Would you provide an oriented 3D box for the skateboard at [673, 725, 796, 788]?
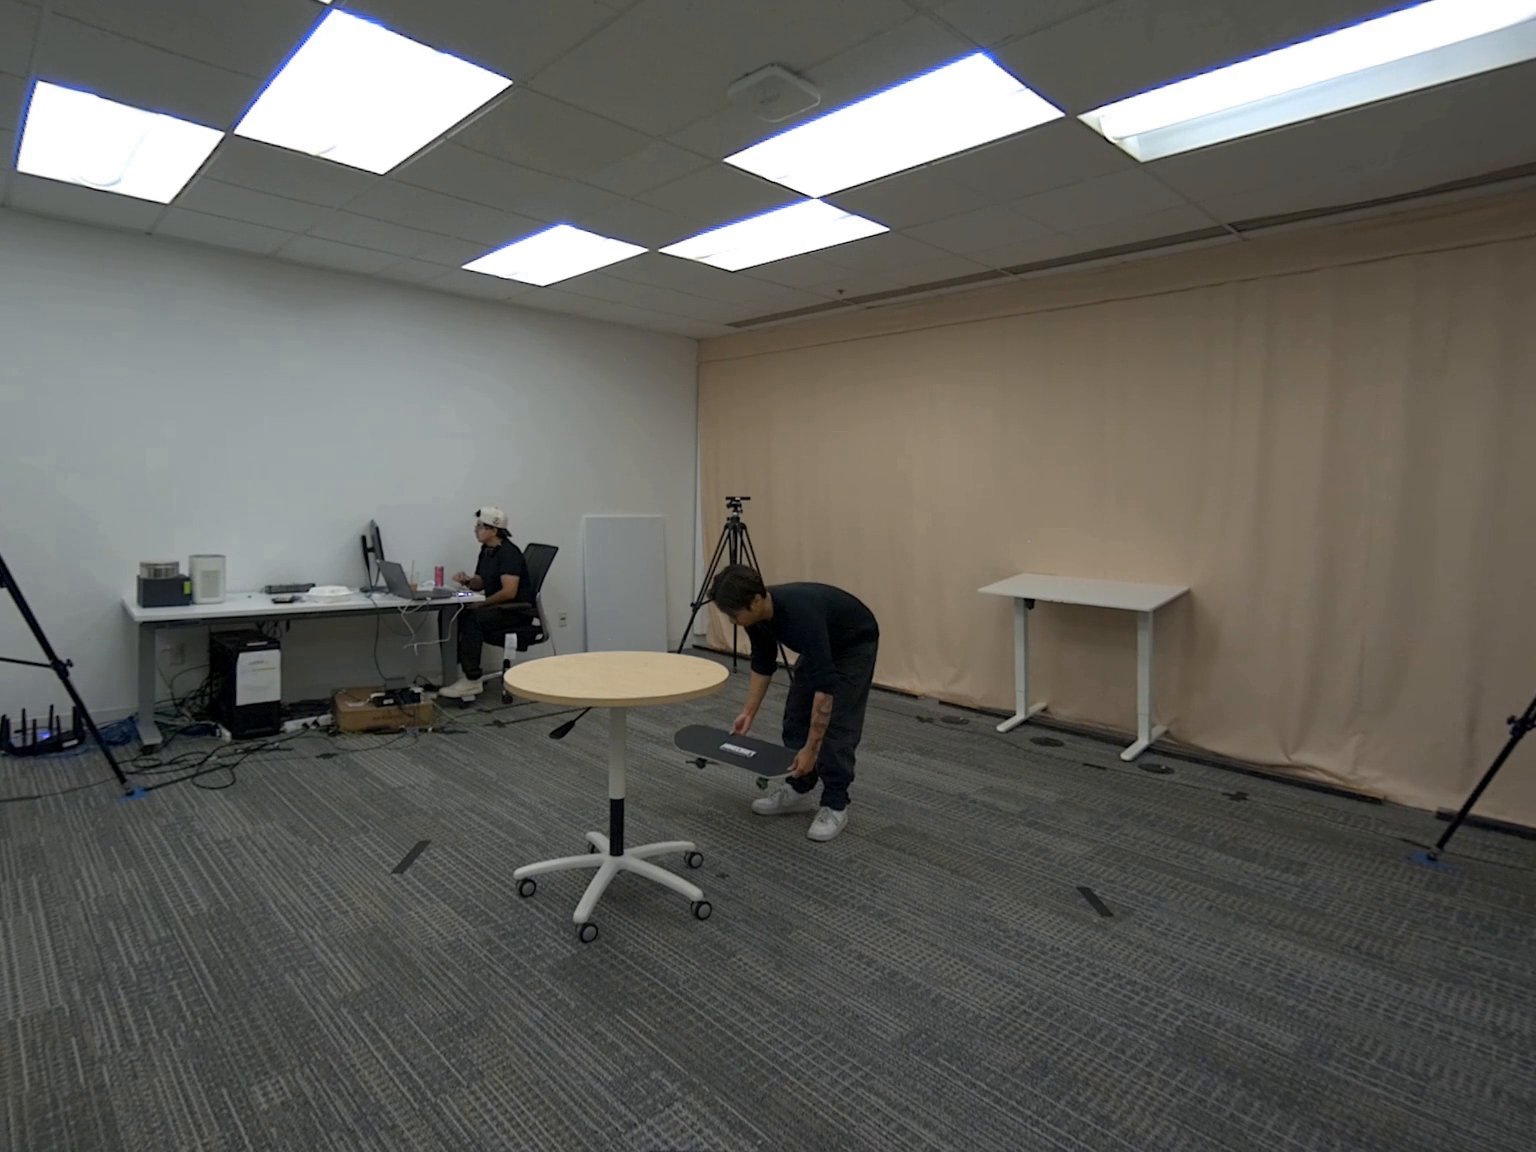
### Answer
[{"bbox_3d":[-0.138,0.777,3.580,0.804,0.109,0.191,3,25,47],"label":"skateboard"}]
